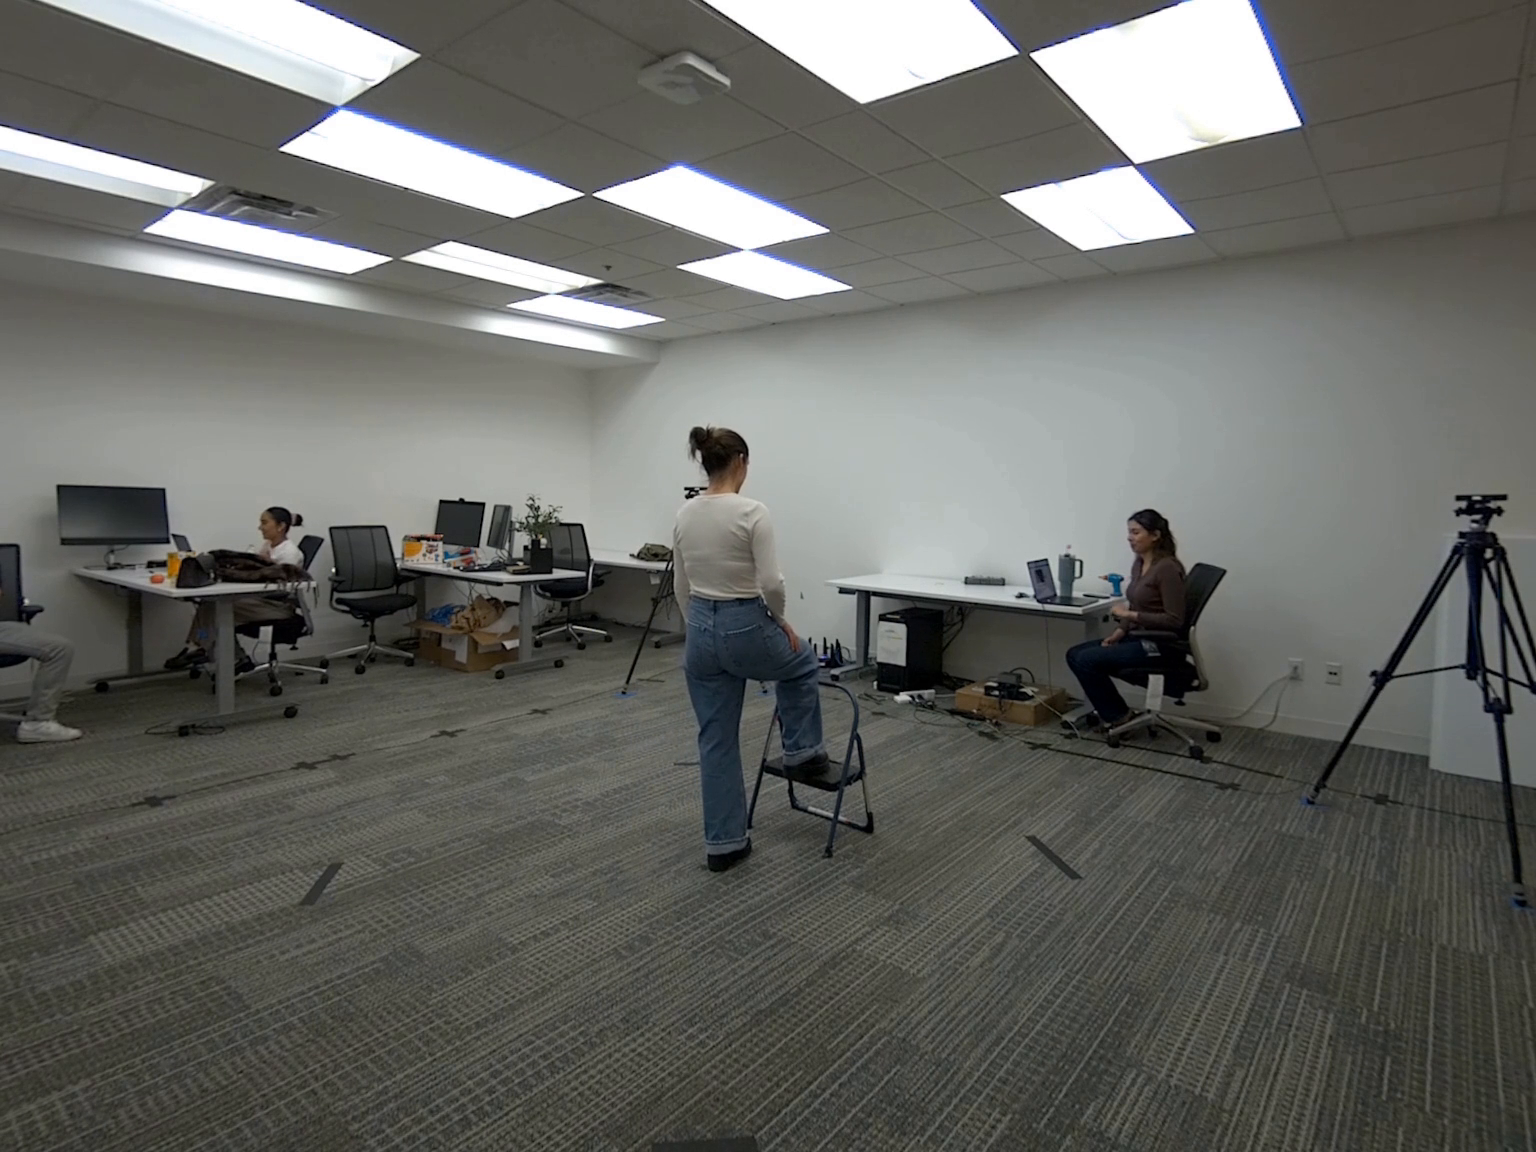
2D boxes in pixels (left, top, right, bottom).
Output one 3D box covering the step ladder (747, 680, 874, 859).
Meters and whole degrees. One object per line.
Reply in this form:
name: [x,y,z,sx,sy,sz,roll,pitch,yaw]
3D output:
step ladder: [0.169,0.733,3.464,0.445,0.604,0.339,4,5,39]
